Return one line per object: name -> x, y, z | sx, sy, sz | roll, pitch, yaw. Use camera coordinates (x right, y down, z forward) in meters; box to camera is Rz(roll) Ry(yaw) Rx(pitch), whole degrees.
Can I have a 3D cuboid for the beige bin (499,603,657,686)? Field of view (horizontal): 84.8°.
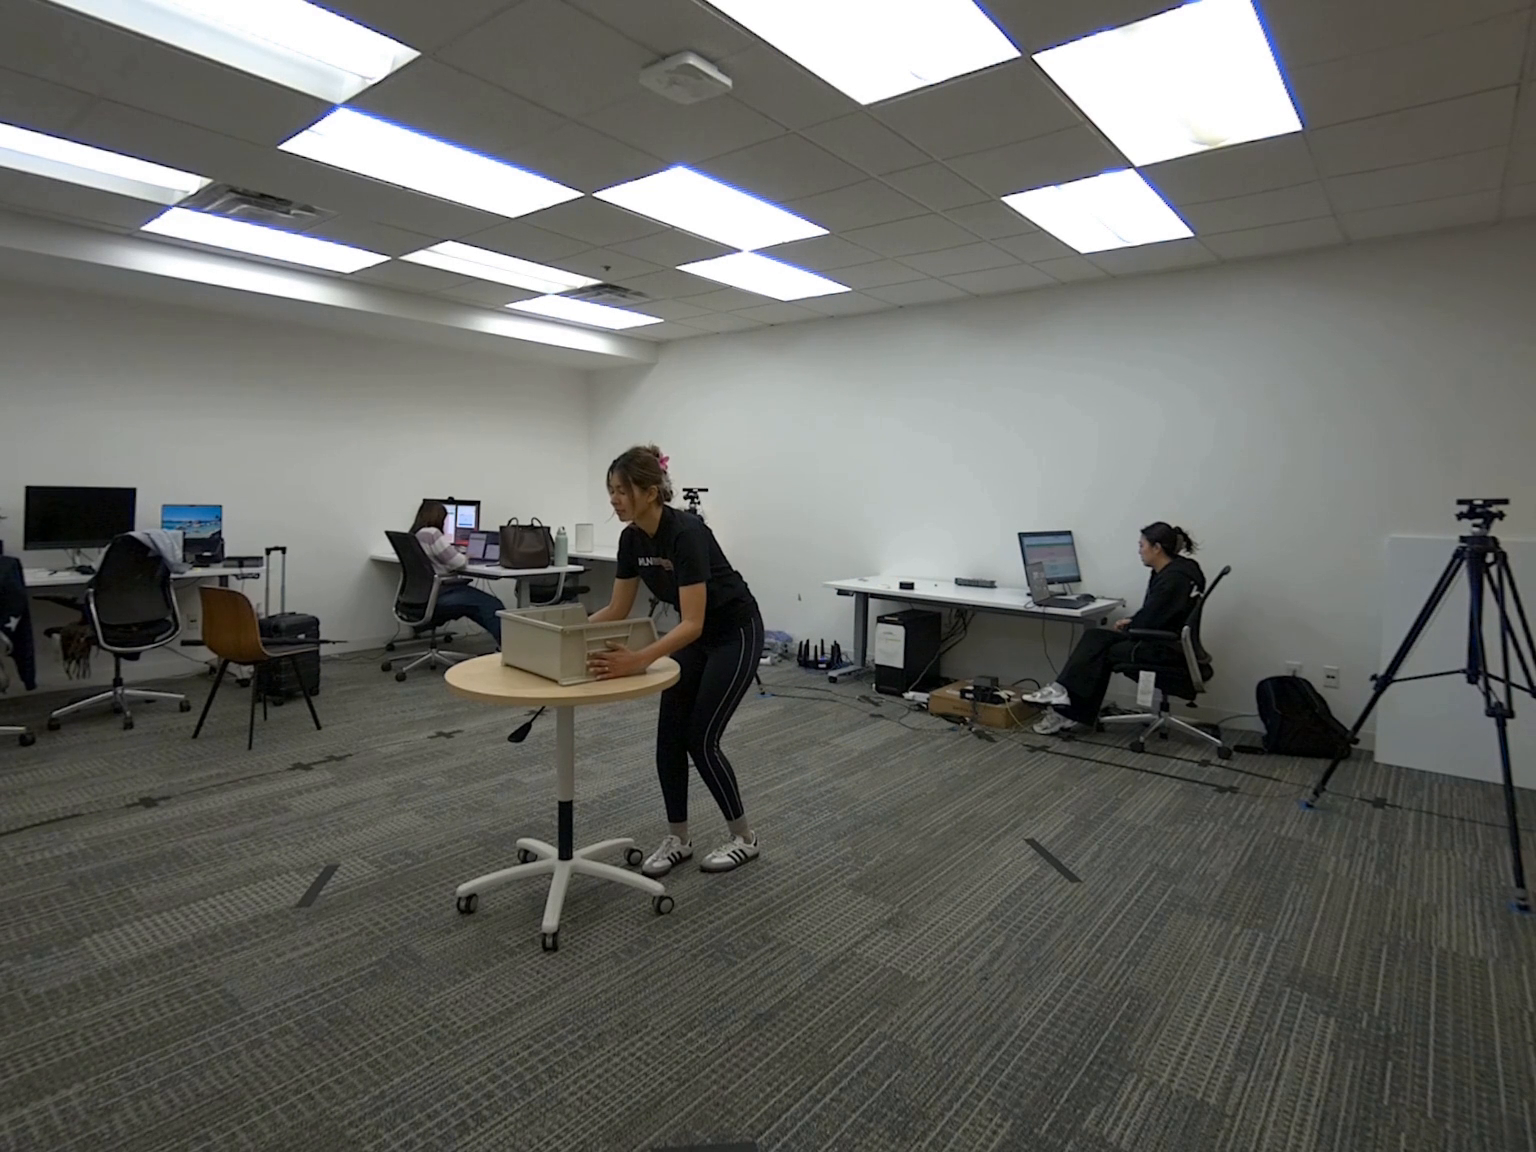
beige bin -> -0.660, 0.214, 2.828 | 0.366, 0.188, 0.437 | -6, 10, -44
